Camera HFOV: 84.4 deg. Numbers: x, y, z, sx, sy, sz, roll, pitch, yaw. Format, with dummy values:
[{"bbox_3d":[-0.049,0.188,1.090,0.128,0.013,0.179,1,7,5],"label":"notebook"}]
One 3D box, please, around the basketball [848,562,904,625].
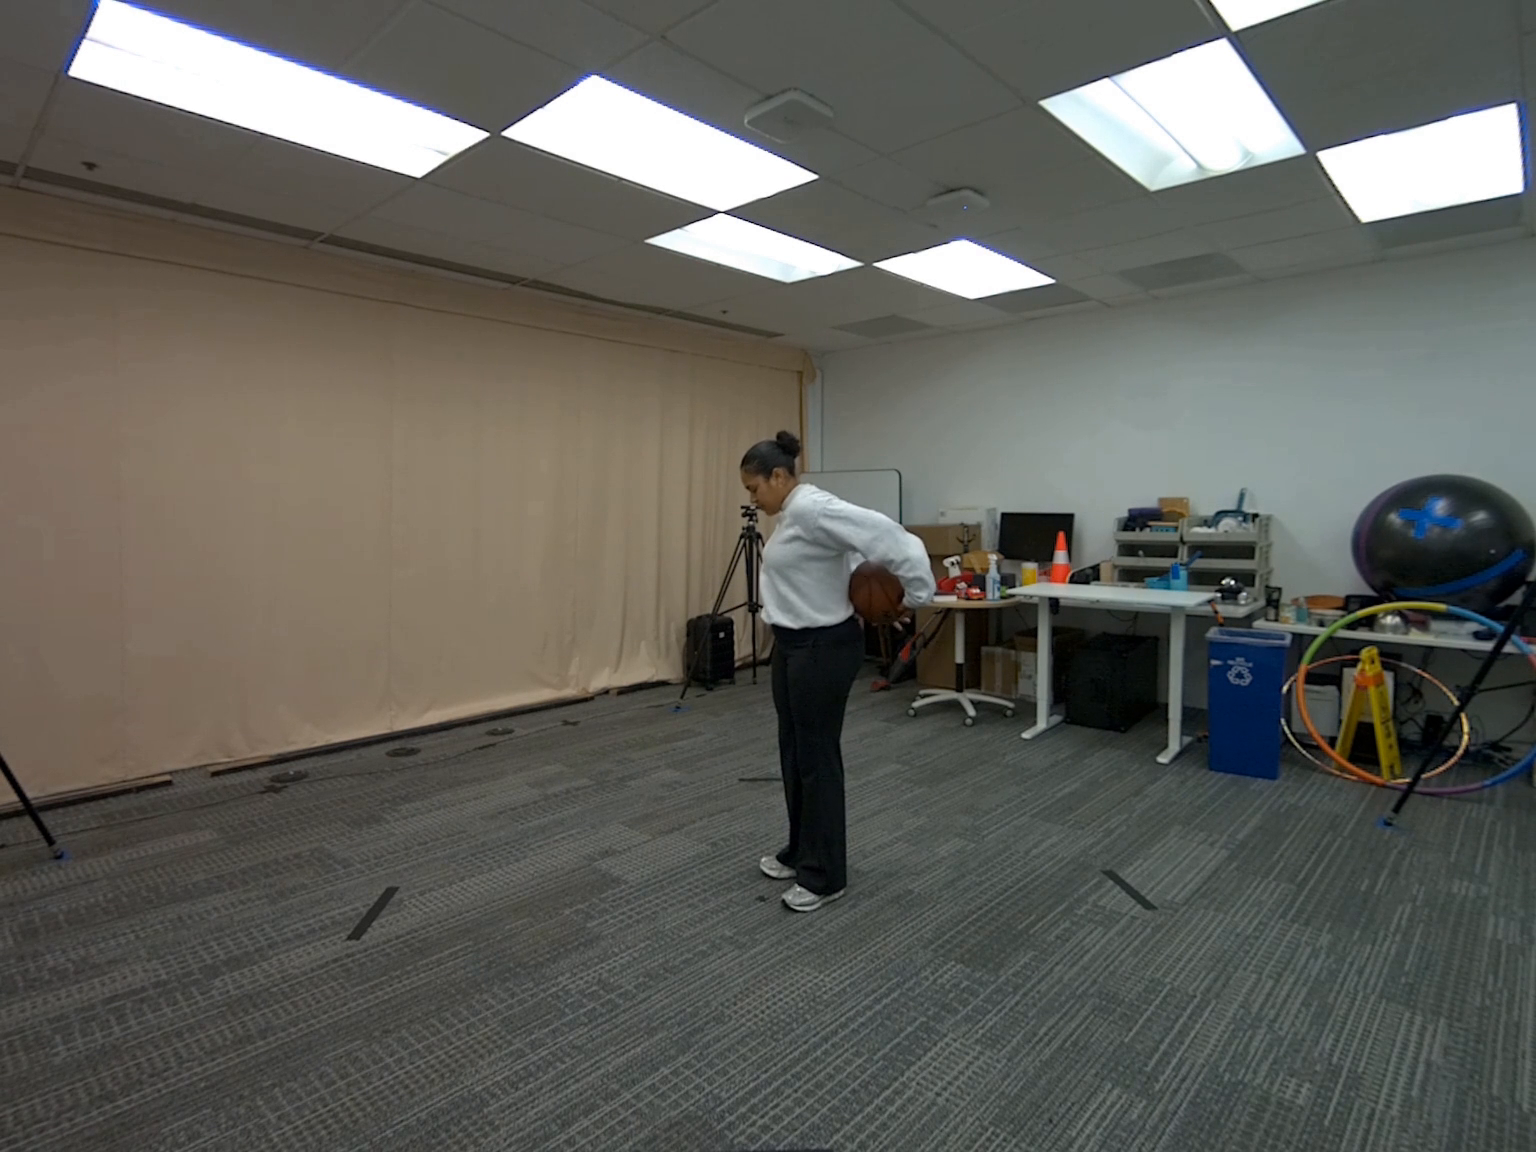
[{"bbox_3d":[0.381,0.055,2.953,0.236,0.235,0.237,0,4,-2],"label":"basketball"}]
